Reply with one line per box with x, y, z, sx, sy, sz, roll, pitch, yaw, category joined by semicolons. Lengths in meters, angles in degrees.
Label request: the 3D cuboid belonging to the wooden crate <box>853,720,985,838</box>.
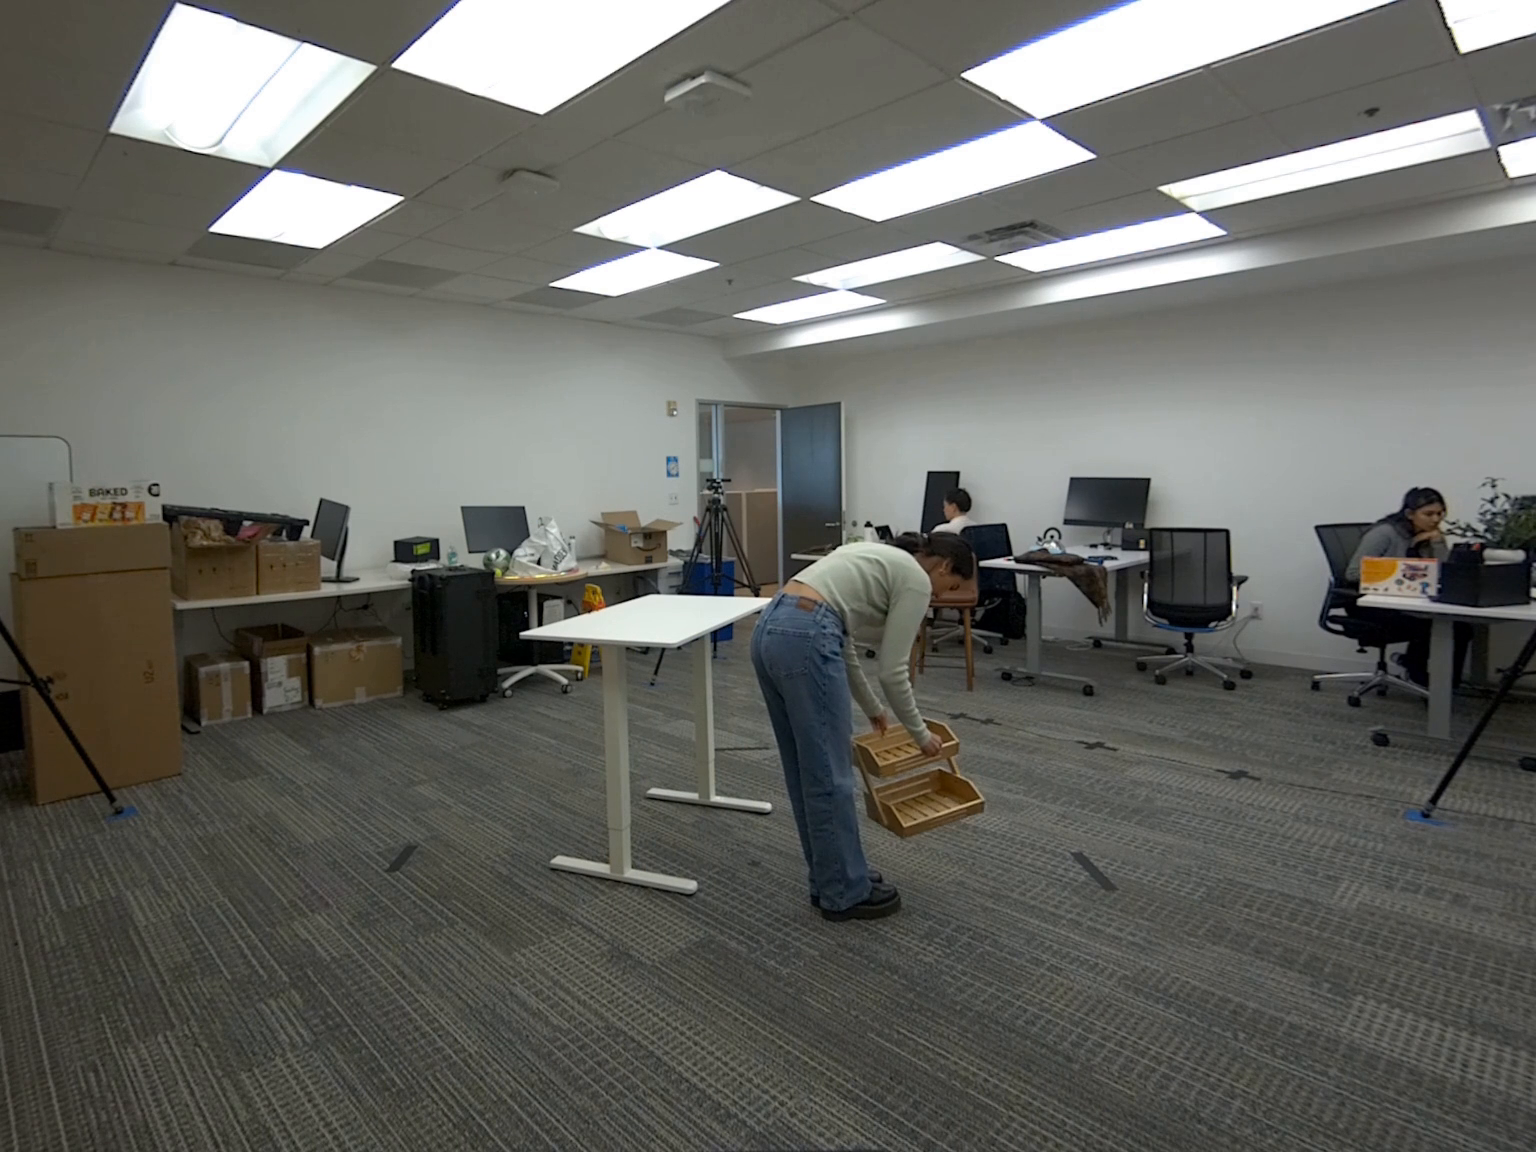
0.487;0.649;2.808;0.320;0.273;0.307;-12;3;-20;wooden crate
